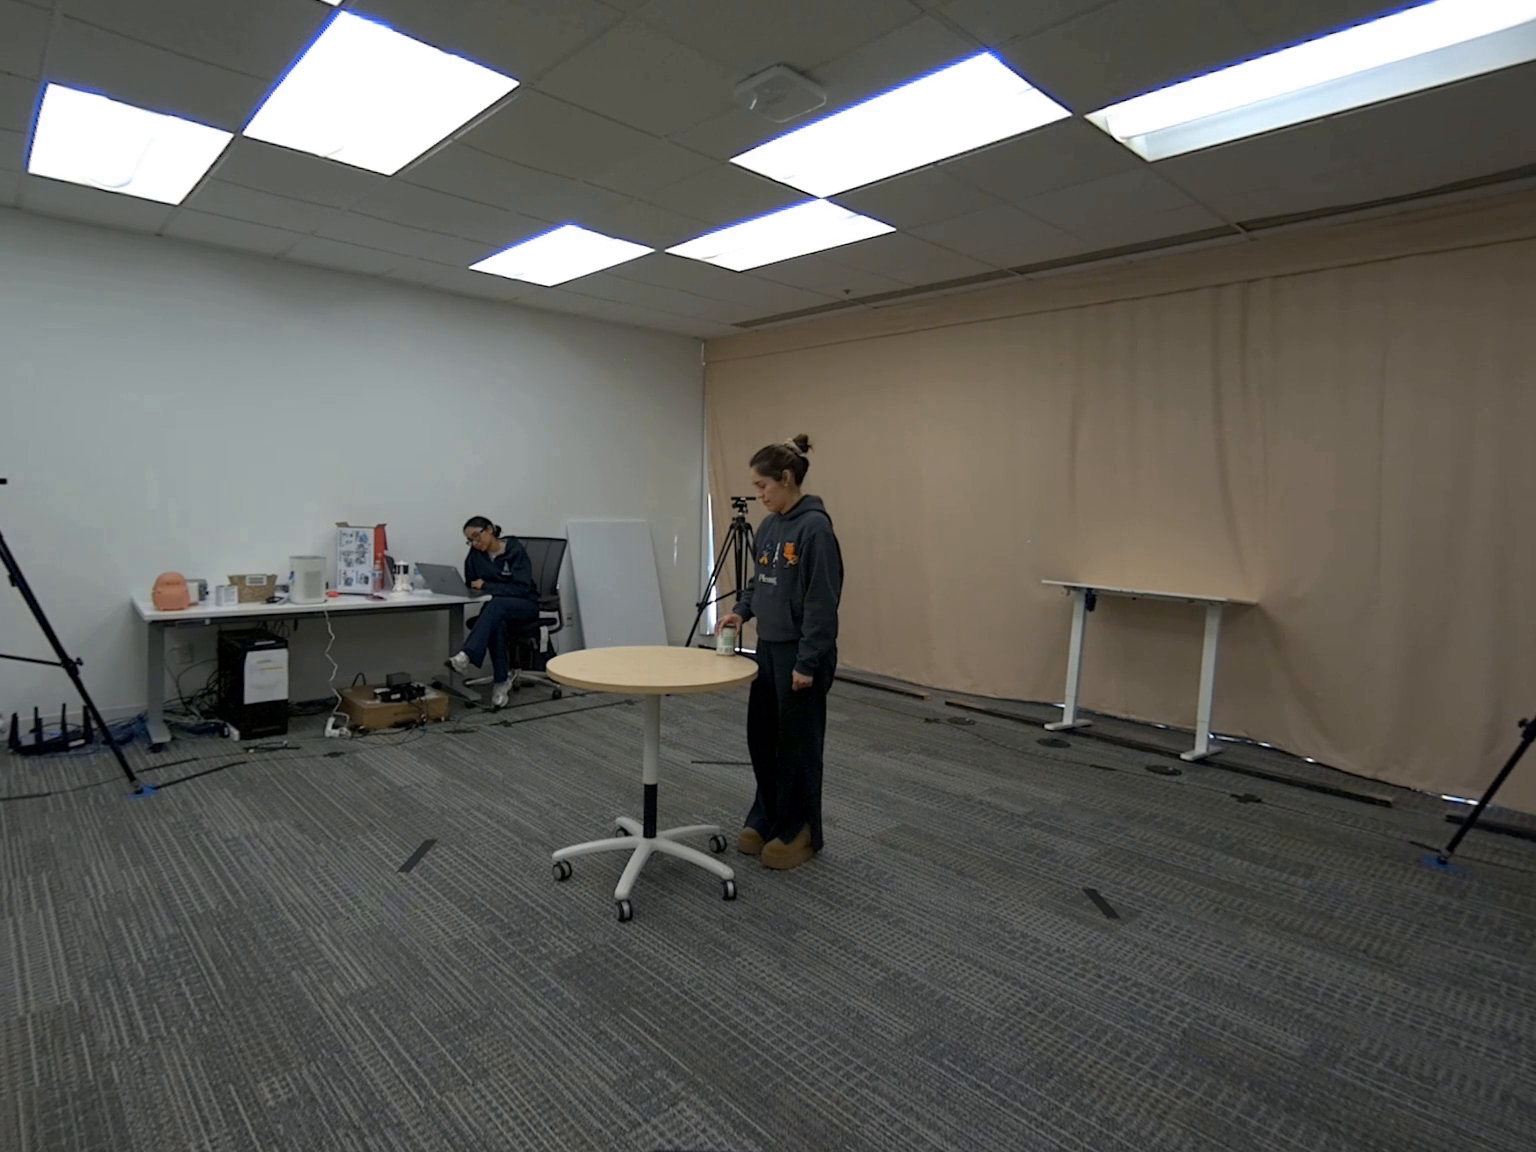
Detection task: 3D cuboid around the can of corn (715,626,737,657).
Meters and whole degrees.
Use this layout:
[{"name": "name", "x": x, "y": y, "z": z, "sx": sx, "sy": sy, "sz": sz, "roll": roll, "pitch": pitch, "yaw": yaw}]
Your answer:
[{"name": "can of corn", "x": -0.168, "y": 0.249, "z": 3.294, "sx": 0.074, "sy": 0.111, "sz": 0.074, "roll": 5, "pitch": 2, "yaw": -2}]
